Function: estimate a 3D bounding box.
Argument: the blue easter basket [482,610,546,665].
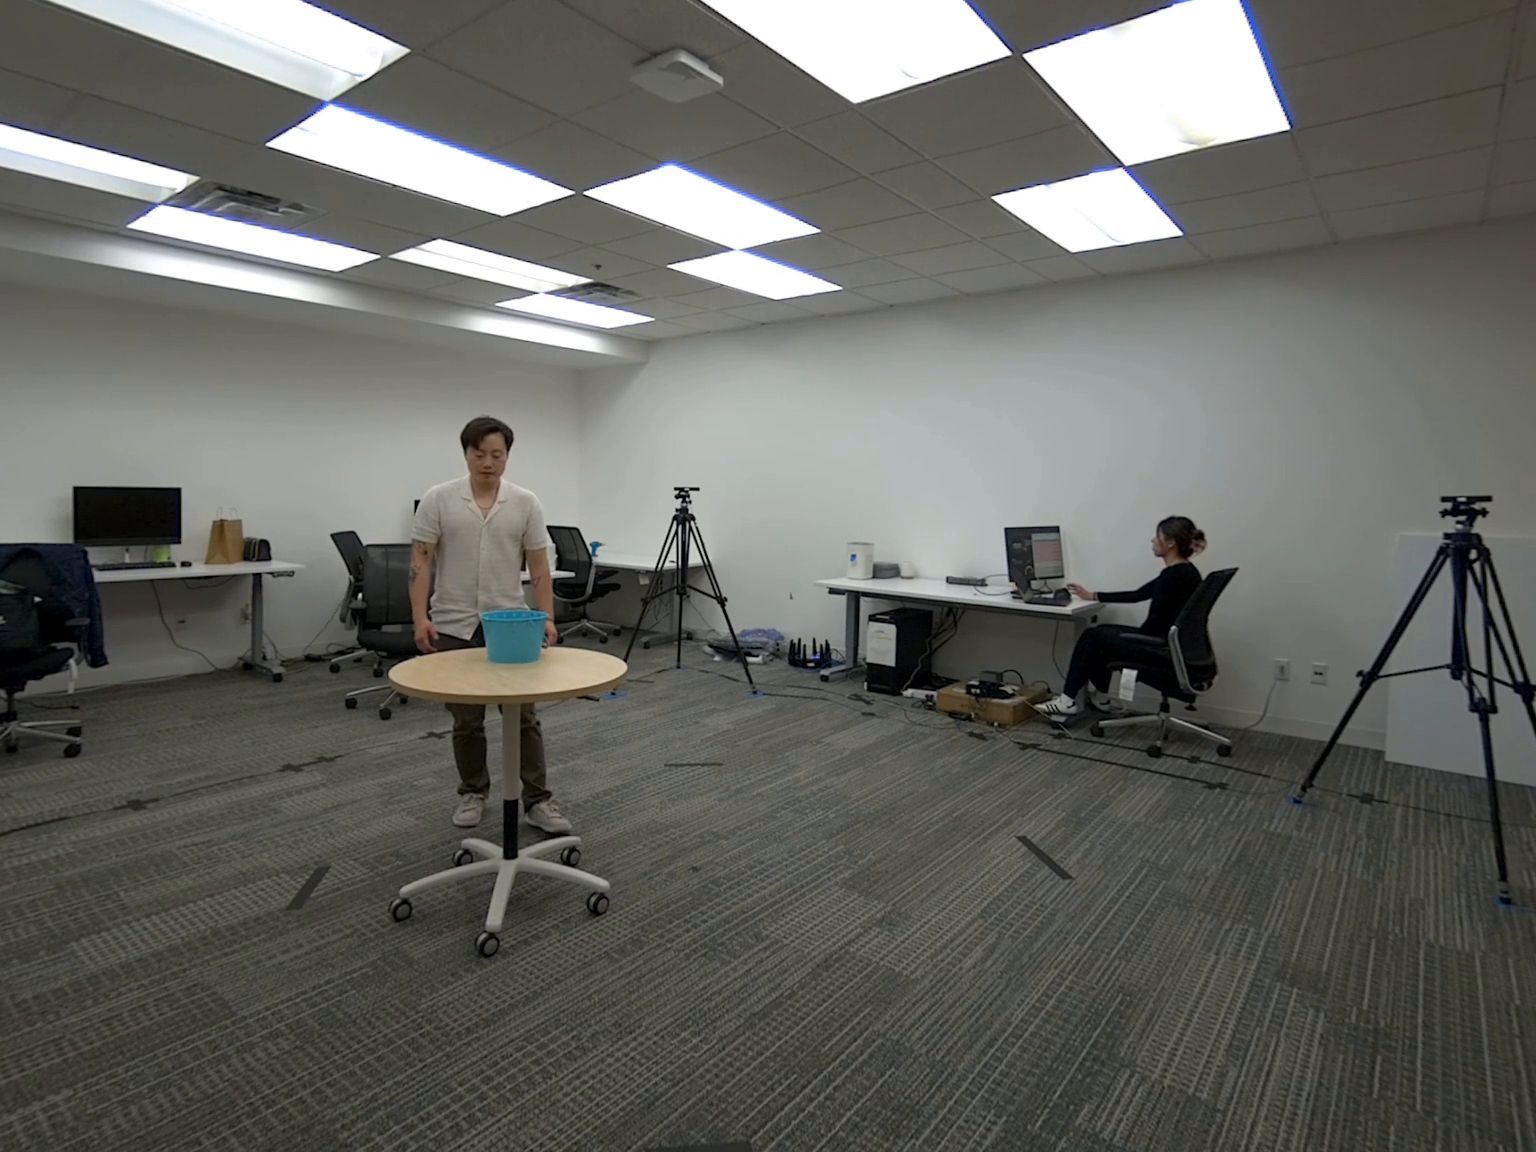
[{"bbox_3d":[-0.891,0.212,2.969,0.243,0.155,0.245,1,4,-2],"label":"blue easter basket"}]
